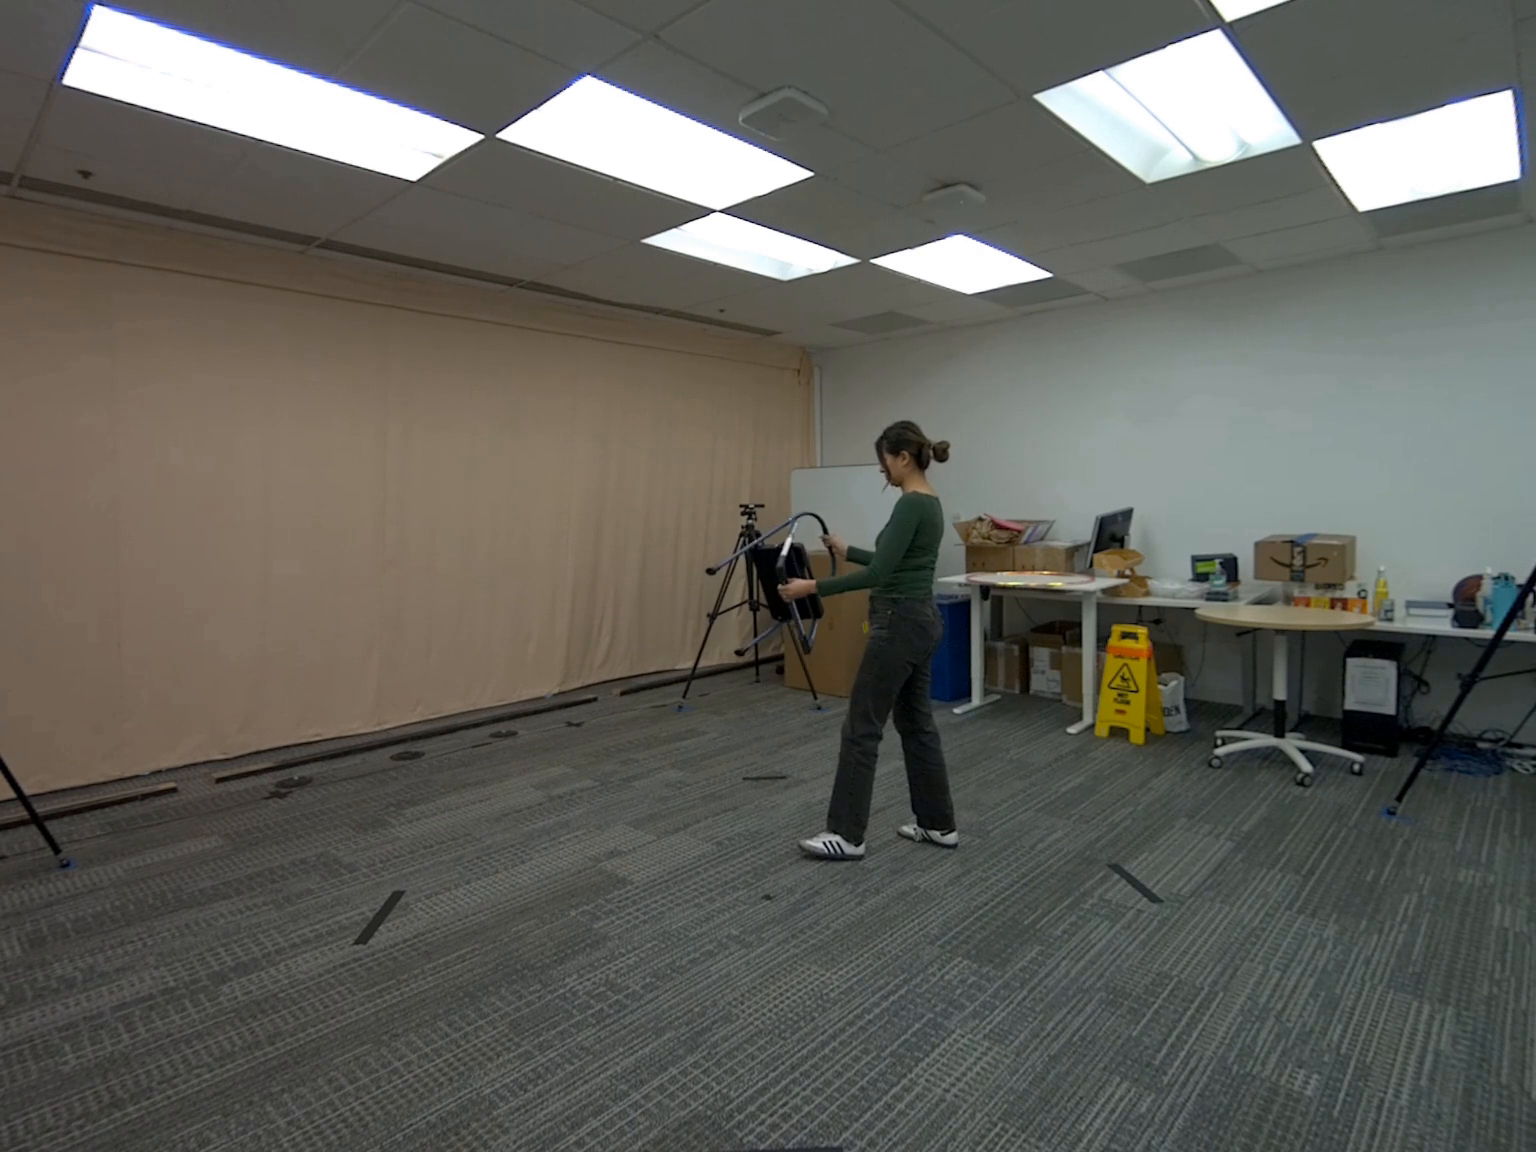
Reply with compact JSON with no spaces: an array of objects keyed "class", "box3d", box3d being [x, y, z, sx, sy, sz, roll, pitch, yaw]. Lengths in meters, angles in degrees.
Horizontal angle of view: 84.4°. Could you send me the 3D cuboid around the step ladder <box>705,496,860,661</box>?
[{"class":"step ladder","box3d":[0.087,-0.001,3.608,0.359,0.422,0.601,-3,28,32]}]
